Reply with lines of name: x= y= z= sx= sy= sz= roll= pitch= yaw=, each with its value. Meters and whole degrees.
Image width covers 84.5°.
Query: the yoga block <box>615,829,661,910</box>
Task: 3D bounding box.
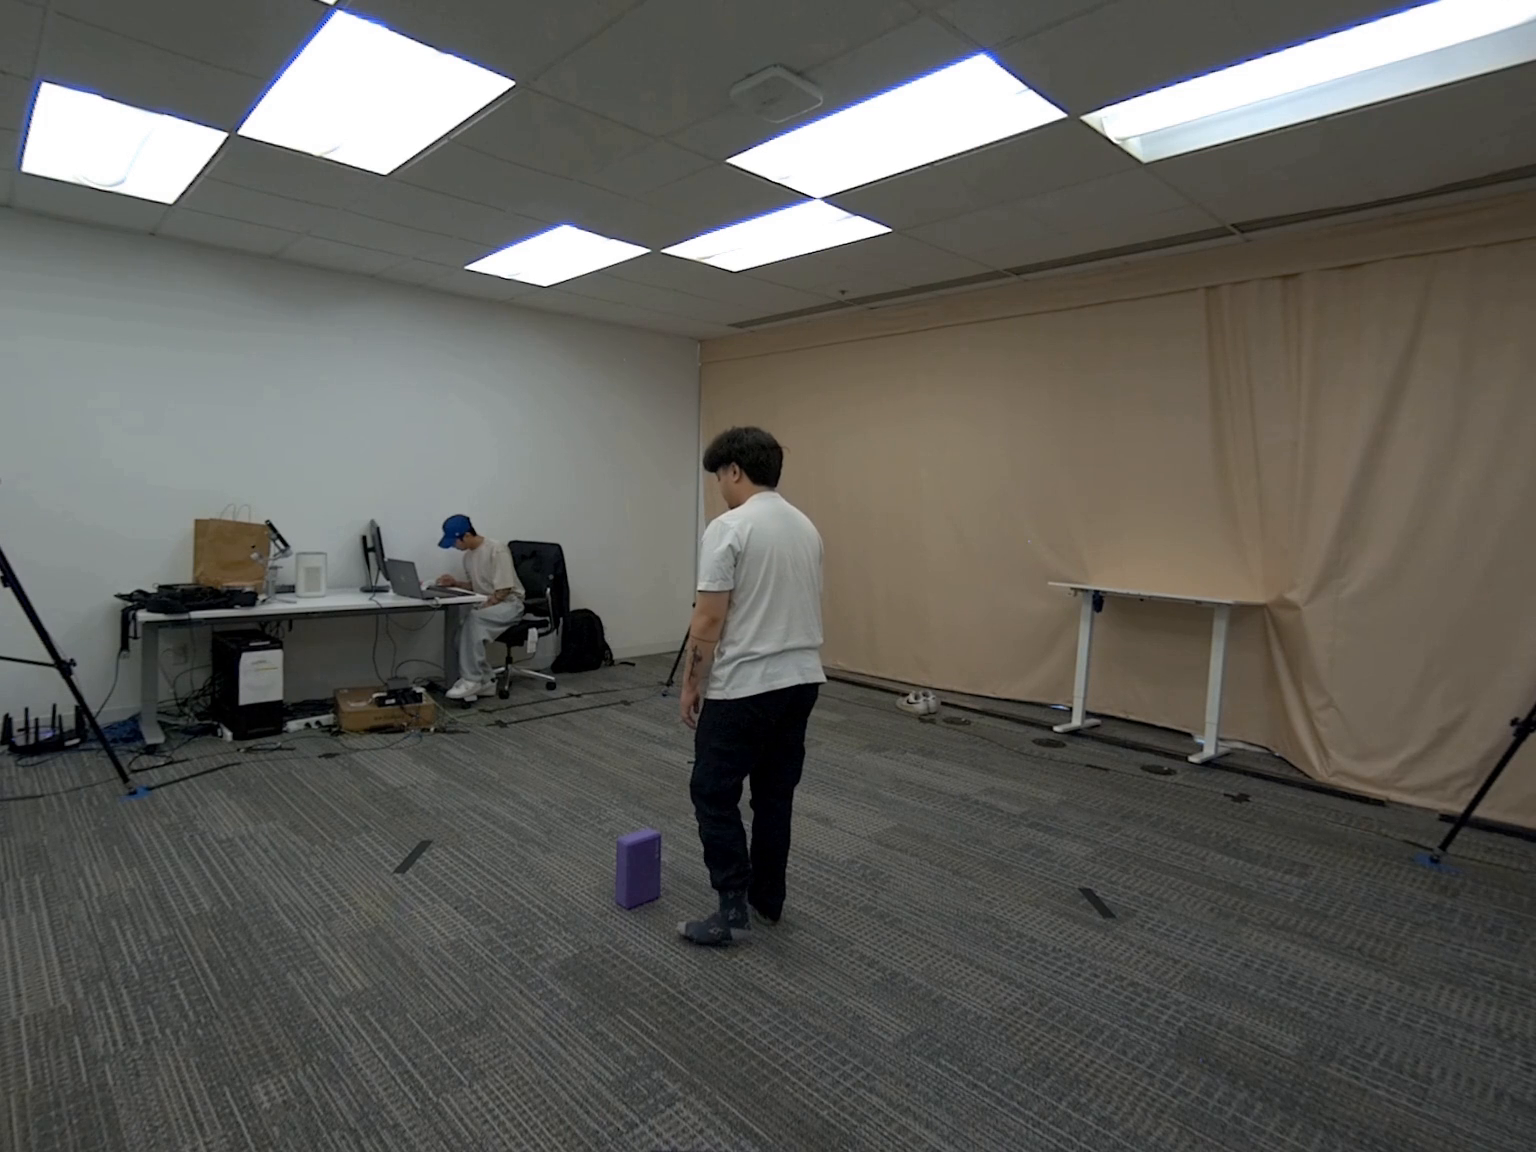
yoga block: x=-0.452 y=1.007 z=2.893 sx=0.078 sy=0.229 sz=0.145 roll=5 pitch=6 yaw=45
